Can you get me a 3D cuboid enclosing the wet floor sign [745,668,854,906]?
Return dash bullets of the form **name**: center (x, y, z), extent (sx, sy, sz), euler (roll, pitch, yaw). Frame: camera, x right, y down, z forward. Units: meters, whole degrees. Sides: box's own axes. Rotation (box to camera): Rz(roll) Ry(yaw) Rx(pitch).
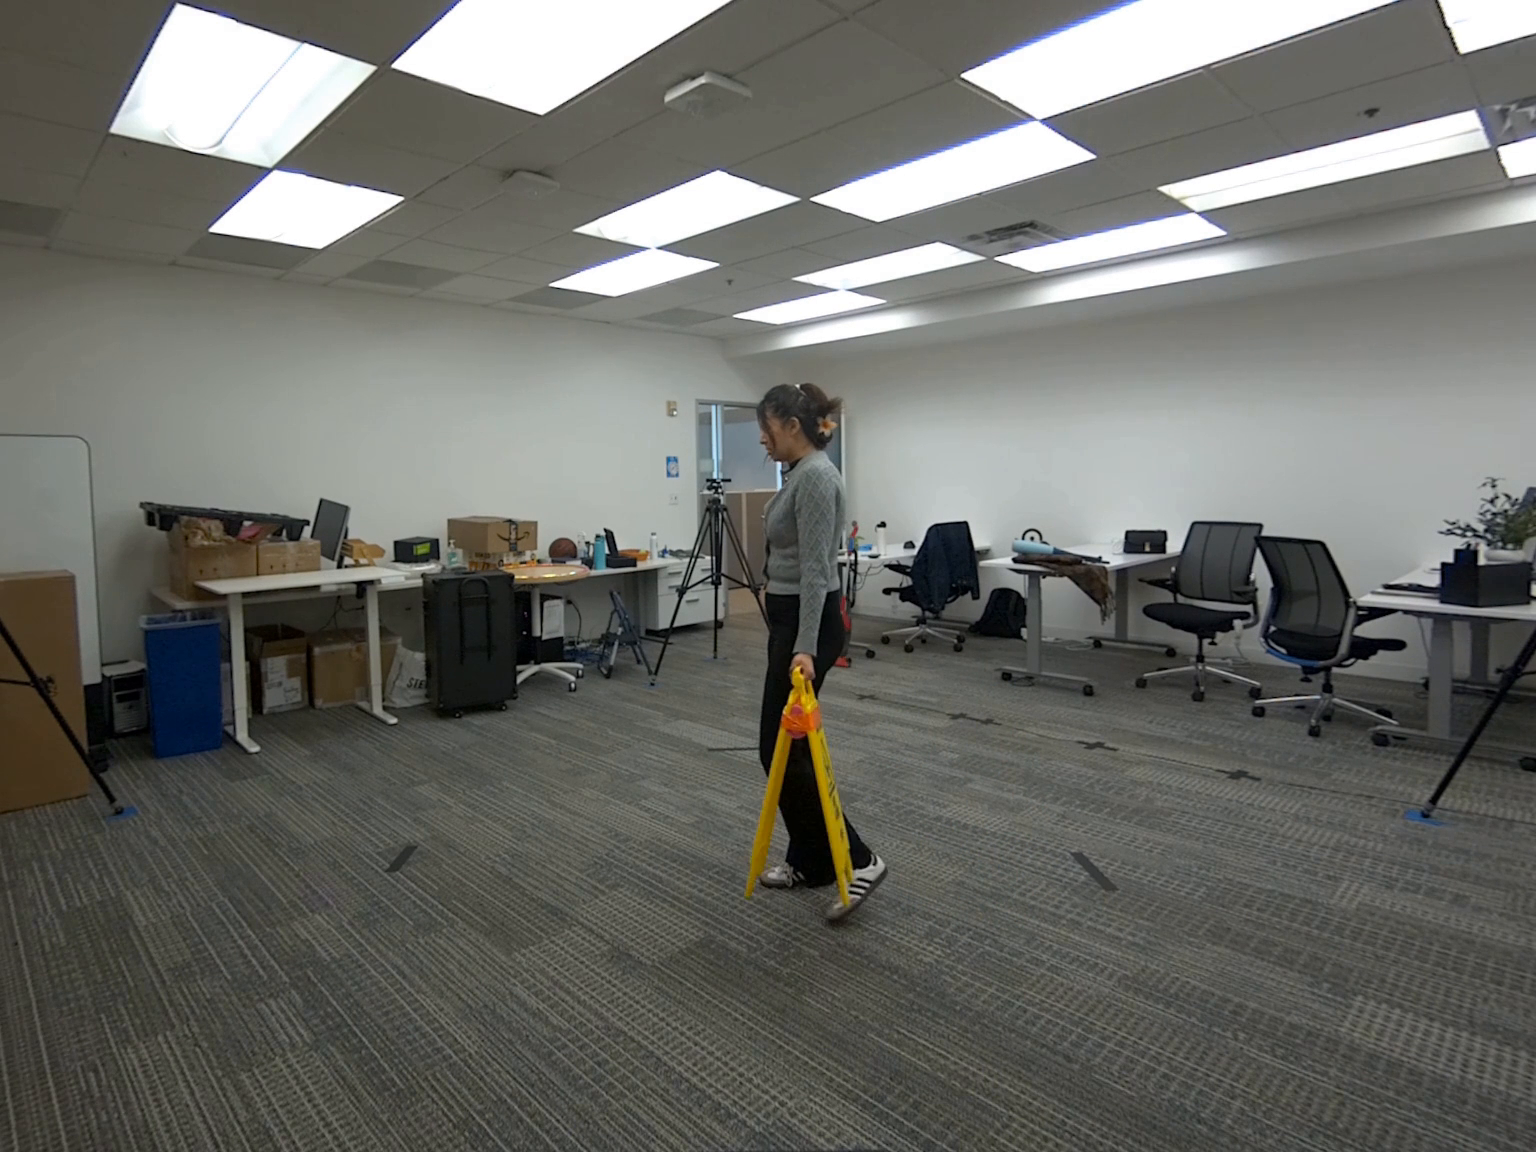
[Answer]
- **wet floor sign**: center (0.096, 0.596, 2.544), extent (0.292, 0.648, 0.279), euler (-2, -4, 8)
